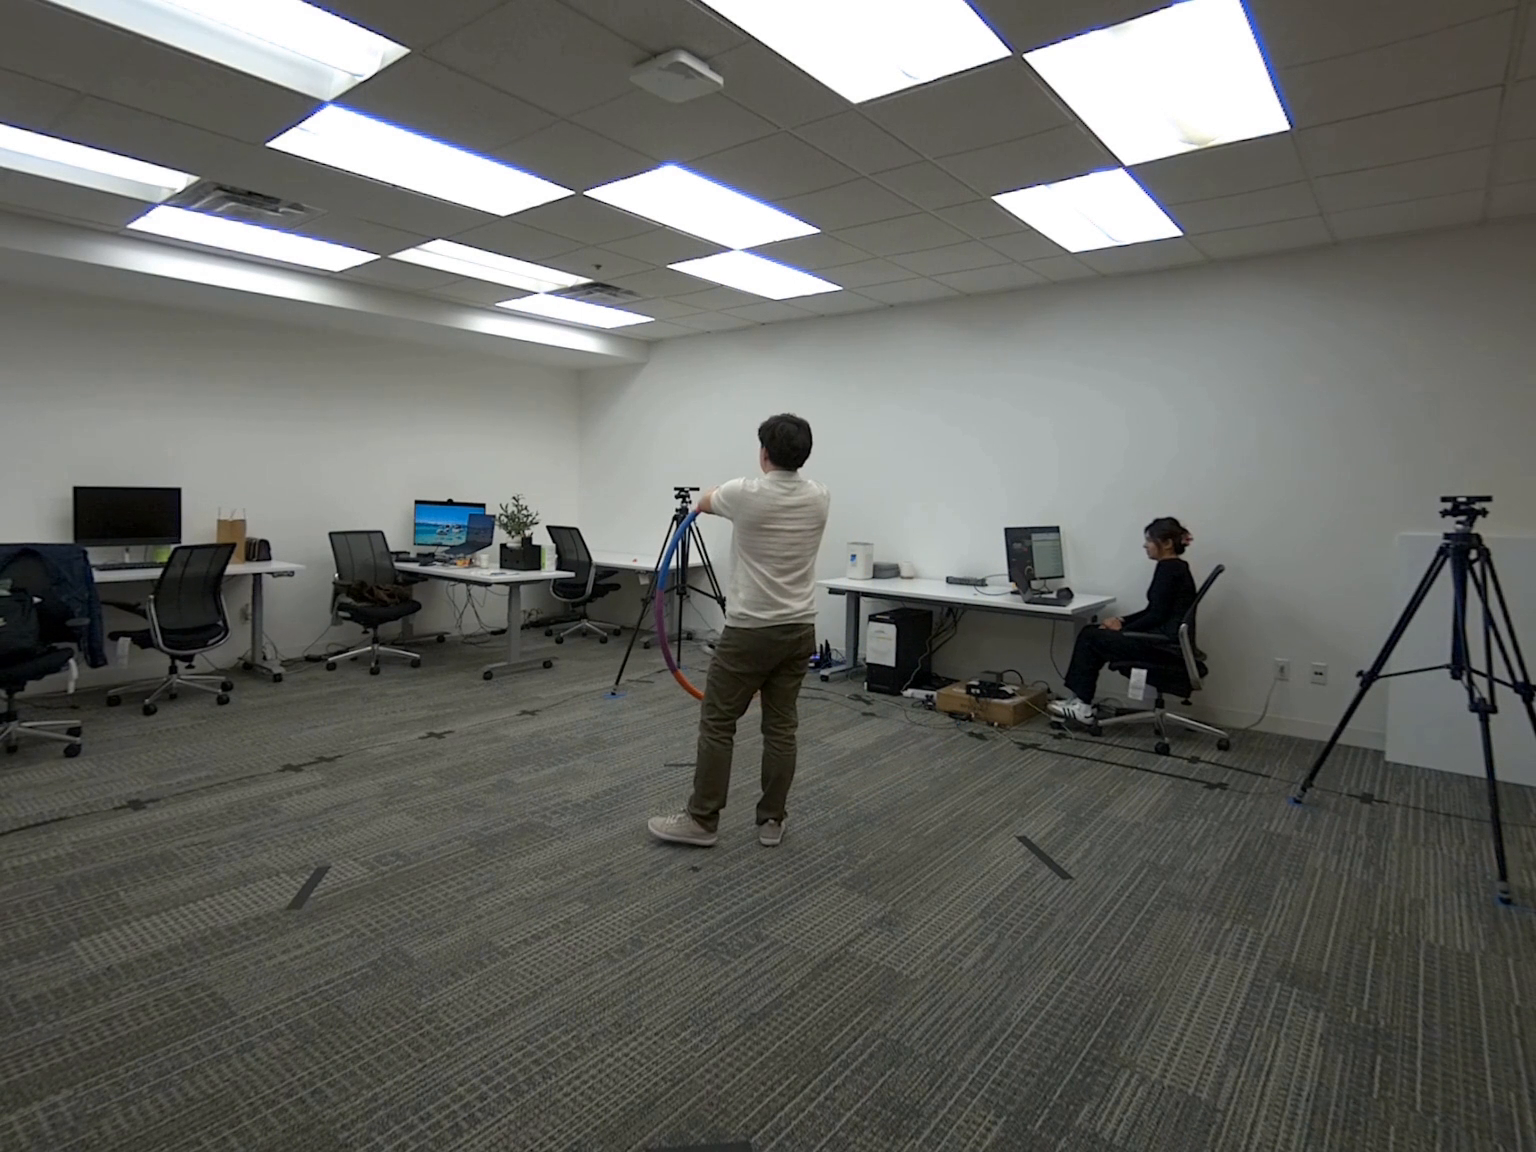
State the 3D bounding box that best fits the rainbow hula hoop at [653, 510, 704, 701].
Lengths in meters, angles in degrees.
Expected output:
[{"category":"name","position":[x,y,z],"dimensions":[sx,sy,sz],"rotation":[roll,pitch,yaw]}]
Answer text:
[{"category":"rainbow hula hoop","position":[-0.152,0.101,3.893],"dimensions":[0.037,0.976,0.949],"rotation":[2,4,44]}]
